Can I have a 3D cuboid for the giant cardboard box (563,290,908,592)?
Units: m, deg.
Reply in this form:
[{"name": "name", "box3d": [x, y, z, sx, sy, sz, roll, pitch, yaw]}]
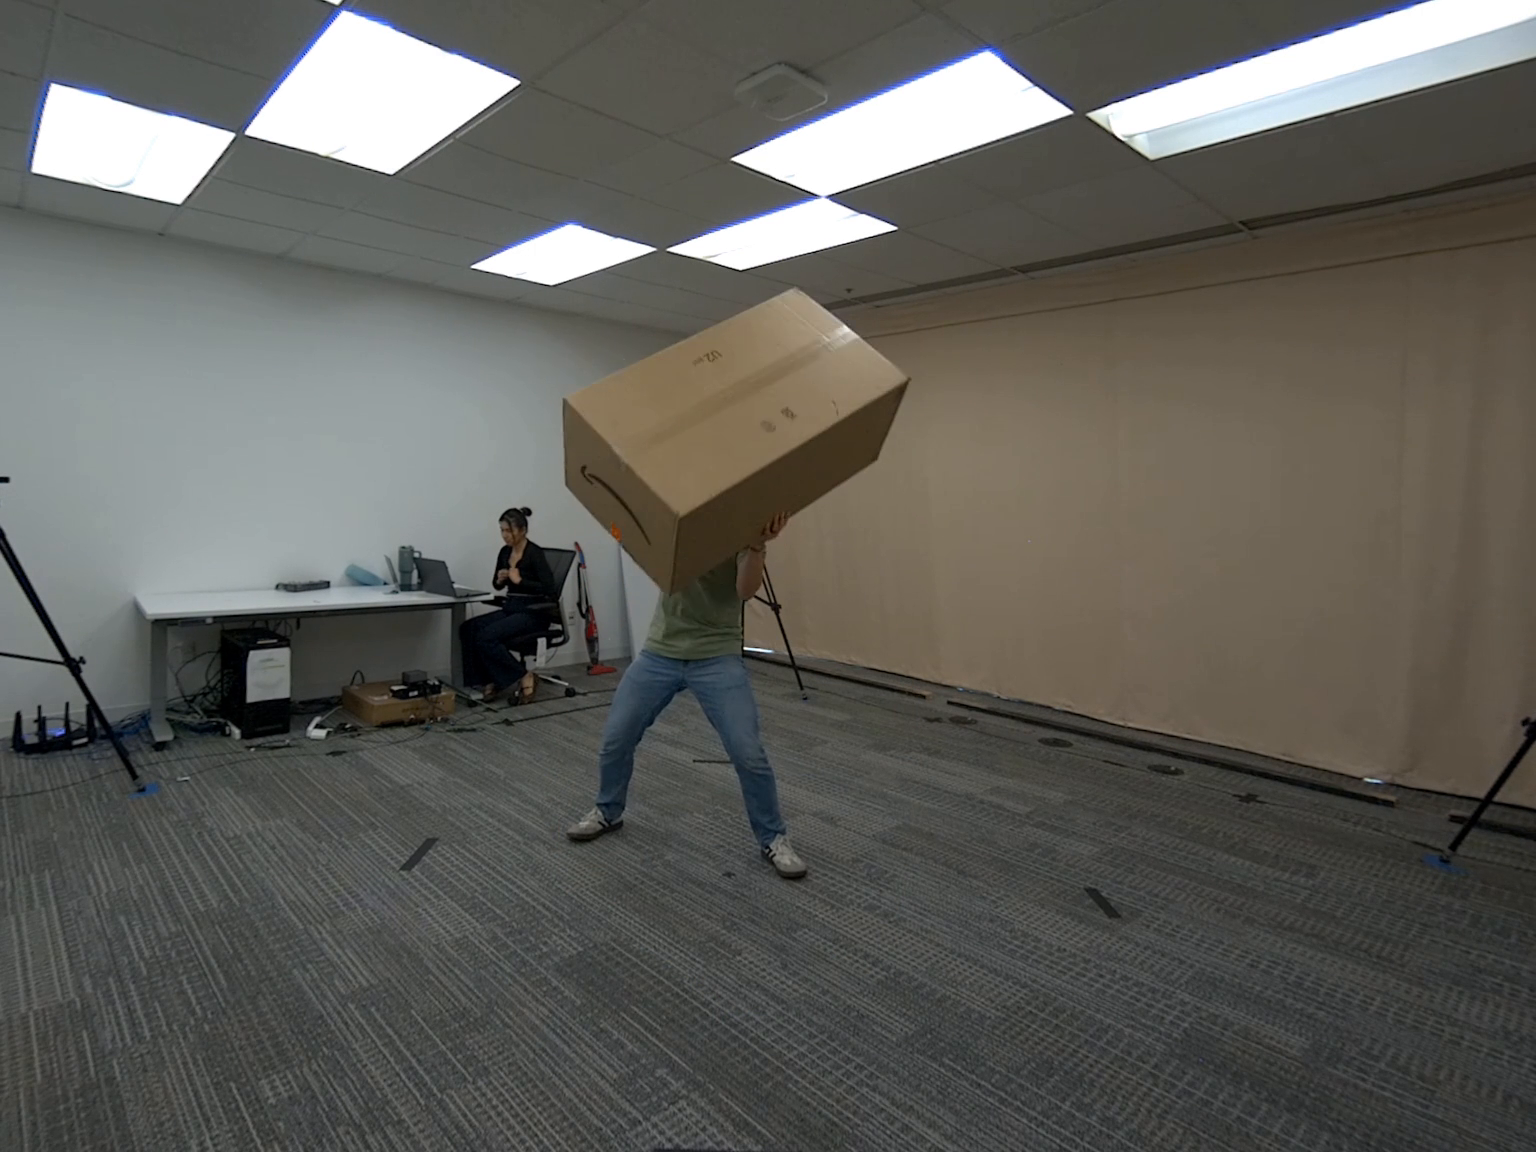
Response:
[{"name": "giant cardboard box", "box3d": [-0.114, -0.466, 2.873, 1.019, 0.590, 0.420, -34, -23, -28]}]
